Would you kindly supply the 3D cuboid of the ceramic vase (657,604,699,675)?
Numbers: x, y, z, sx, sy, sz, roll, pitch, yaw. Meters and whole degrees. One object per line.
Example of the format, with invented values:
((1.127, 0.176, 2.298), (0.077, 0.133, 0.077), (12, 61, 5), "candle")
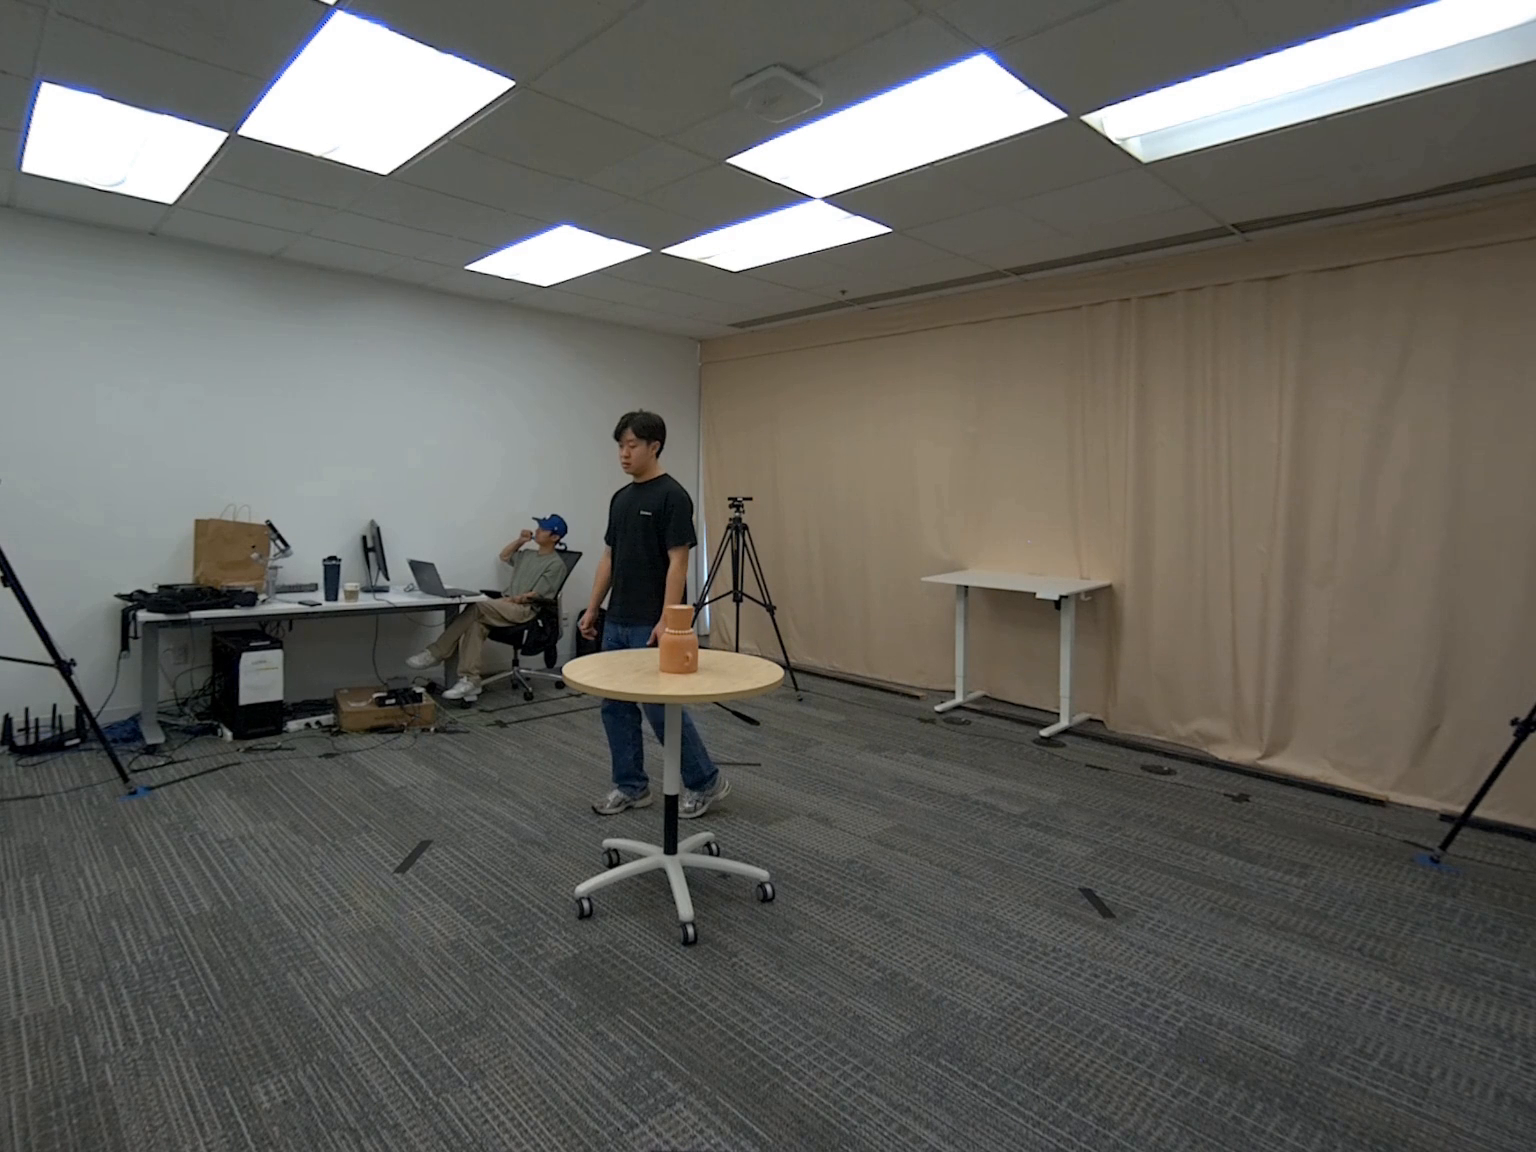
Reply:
((-0.314, 0.216, 2.897), (0.161, 0.219, 0.133), (2, 4, 19), "ceramic vase")
